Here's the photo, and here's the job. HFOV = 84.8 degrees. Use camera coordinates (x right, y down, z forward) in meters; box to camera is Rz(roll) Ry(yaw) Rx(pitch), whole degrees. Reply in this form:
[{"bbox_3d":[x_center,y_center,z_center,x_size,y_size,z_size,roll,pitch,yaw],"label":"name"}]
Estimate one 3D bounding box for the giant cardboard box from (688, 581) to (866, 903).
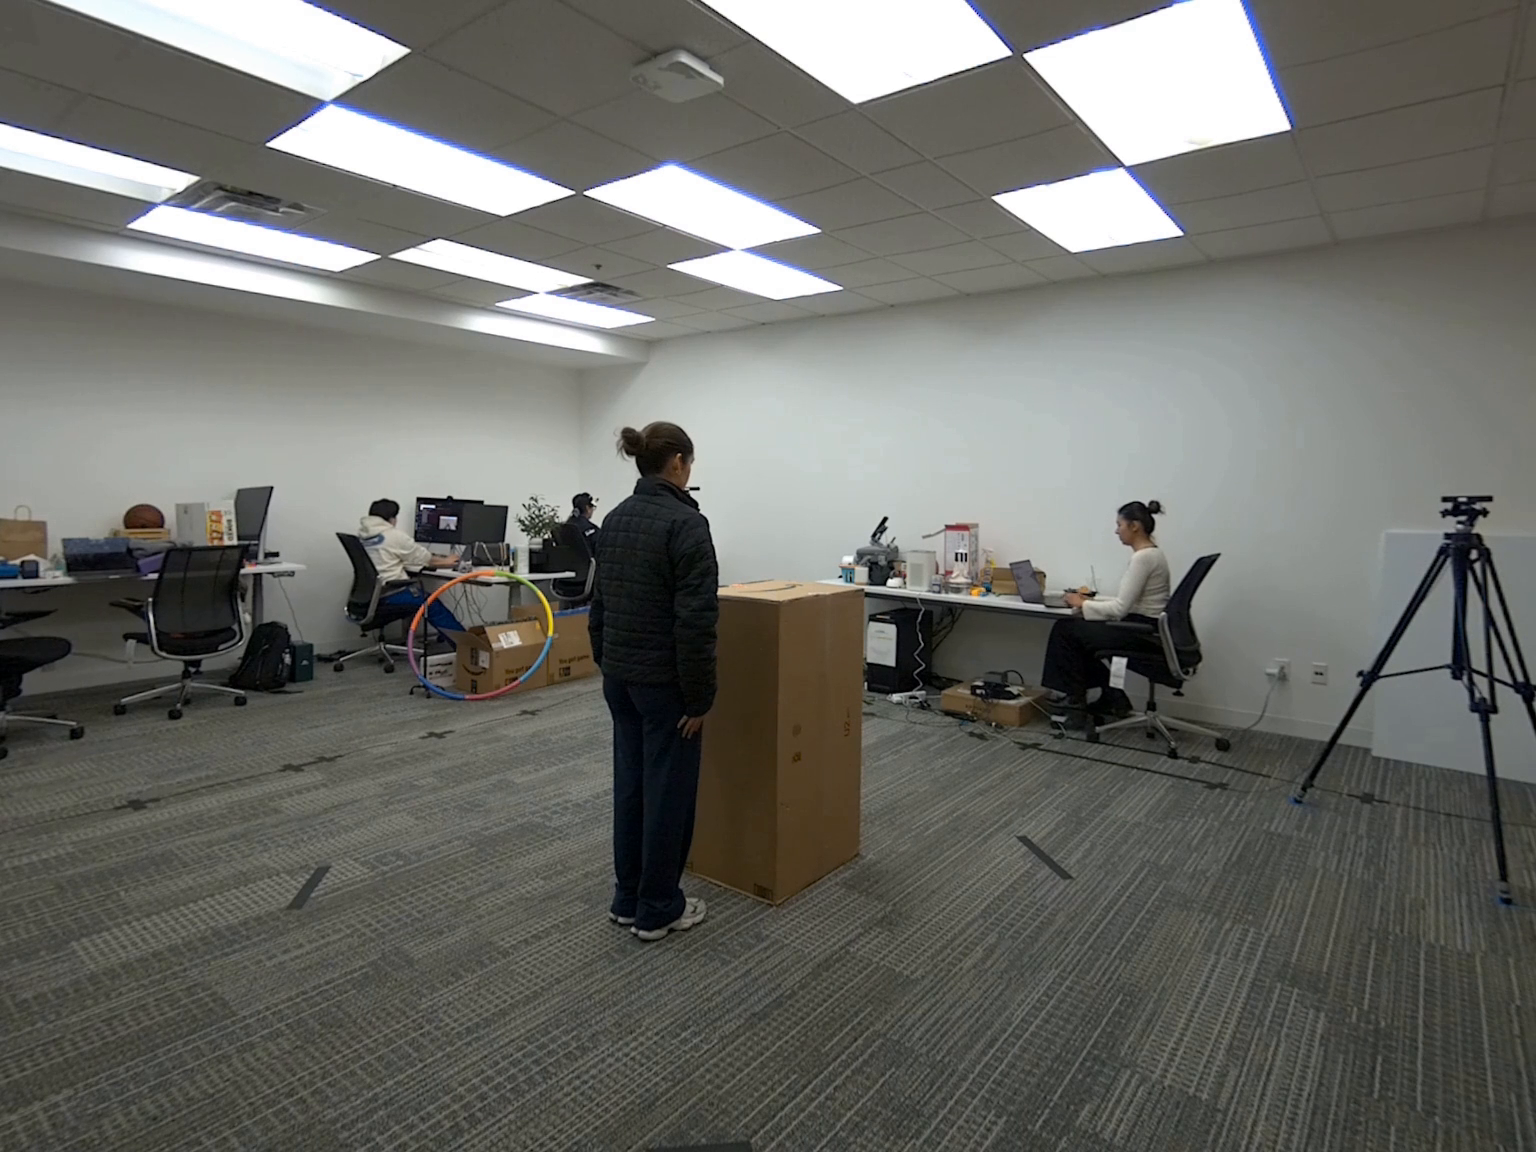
[{"bbox_3d":[0.042,0.557,3.165,0.440,1.023,0.560,3,4,38],"label":"giant cardboard box"}]
